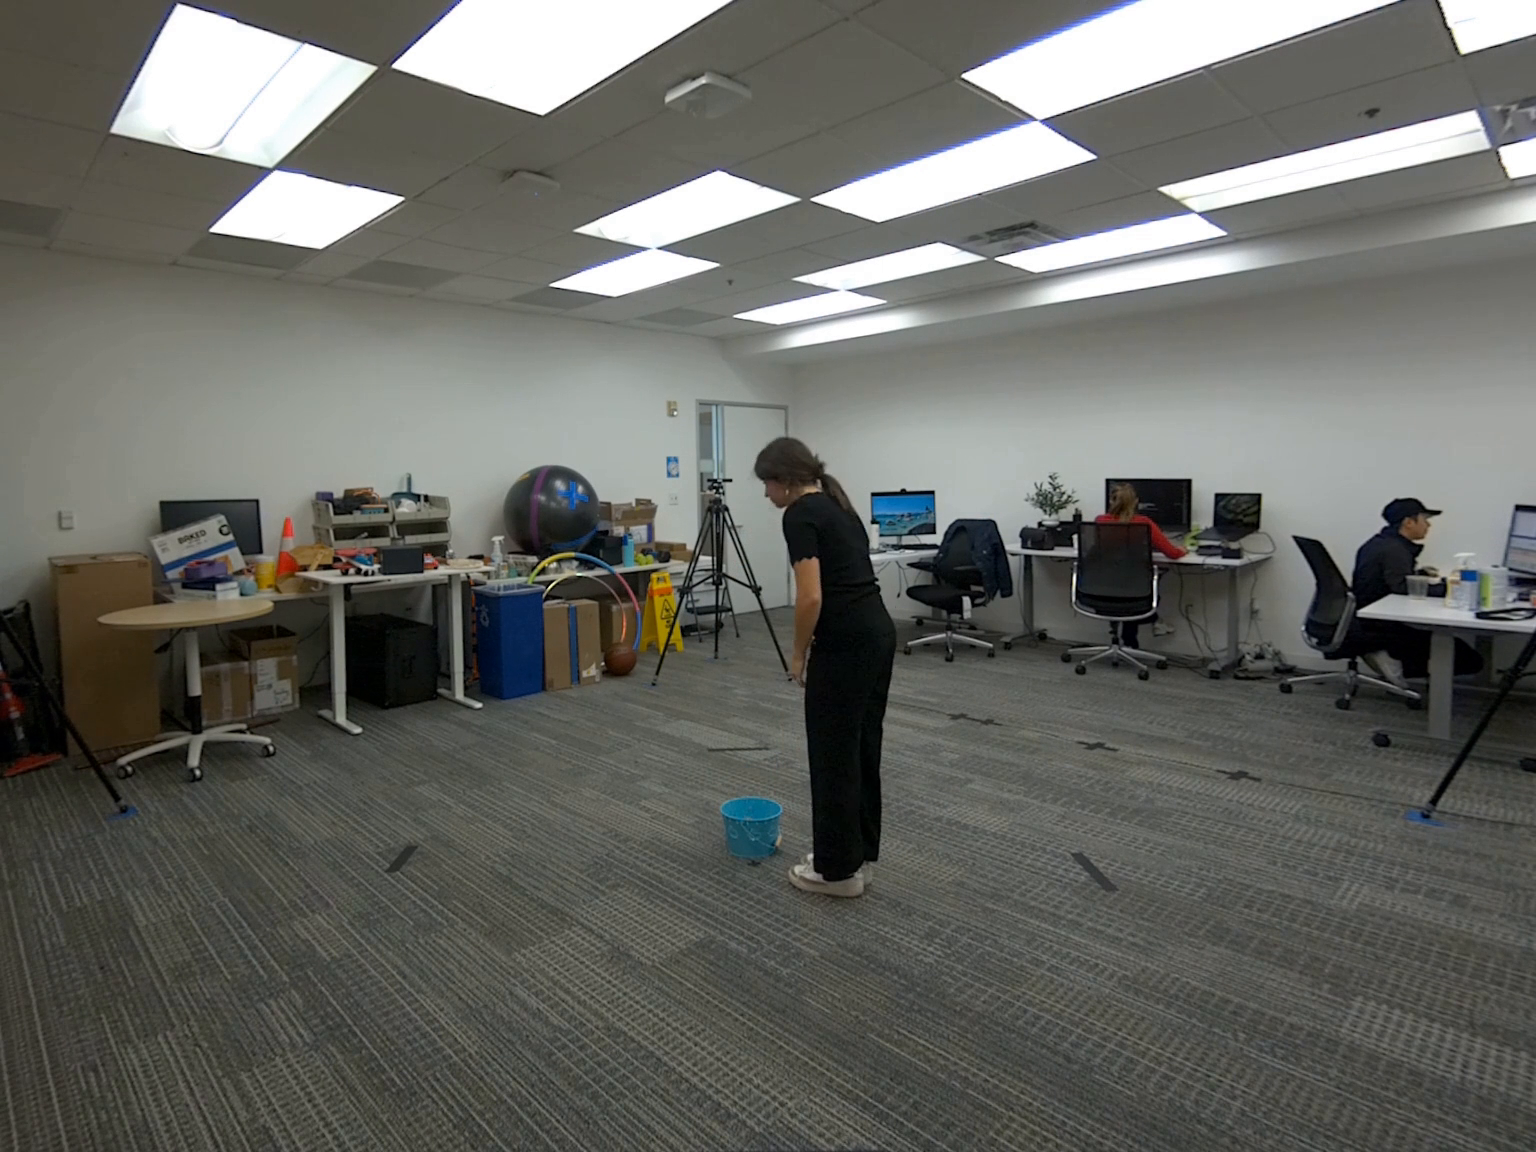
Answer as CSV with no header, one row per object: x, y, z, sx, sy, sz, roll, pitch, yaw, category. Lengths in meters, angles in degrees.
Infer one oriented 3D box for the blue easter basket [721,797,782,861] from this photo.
-0.057,0.953,3.231,0.243,0.155,0.245,-1,5,-2,blue easter basket
